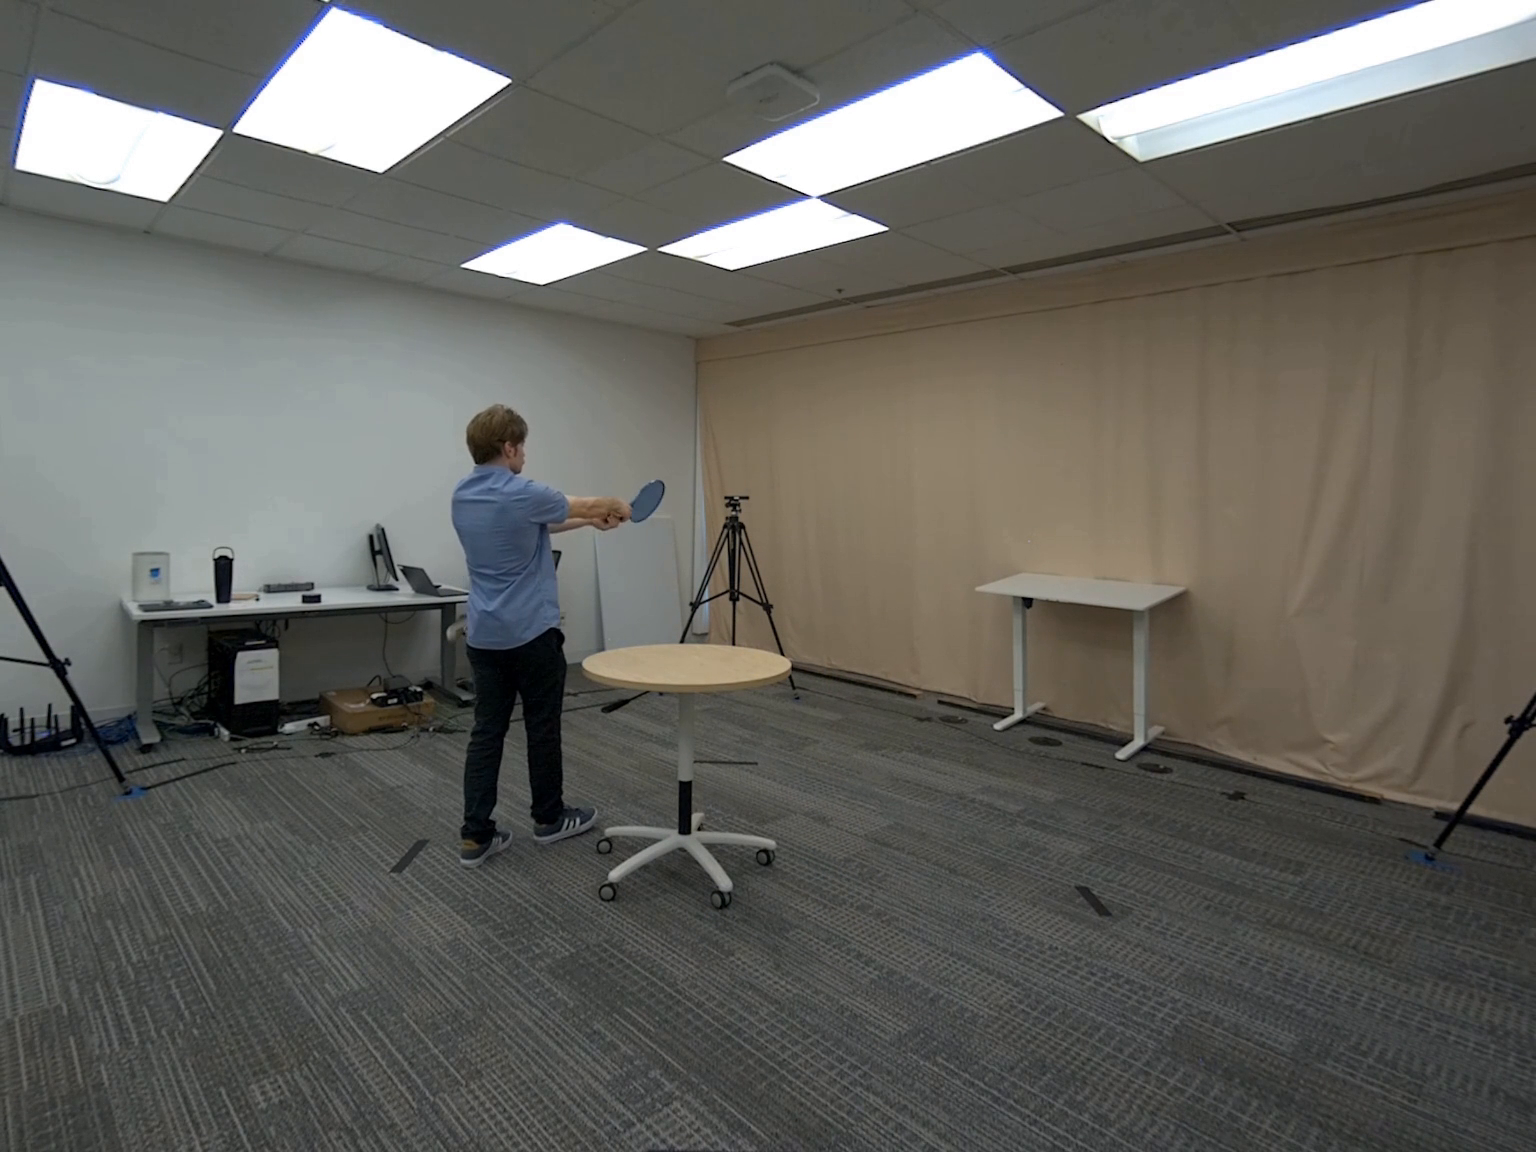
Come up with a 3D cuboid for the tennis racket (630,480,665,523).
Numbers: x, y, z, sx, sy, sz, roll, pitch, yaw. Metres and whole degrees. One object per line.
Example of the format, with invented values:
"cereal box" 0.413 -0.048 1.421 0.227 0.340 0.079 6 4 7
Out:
"tennis racket" -0.595 -0.309 3.772 0.032 0.211 0.431 26 34 16
